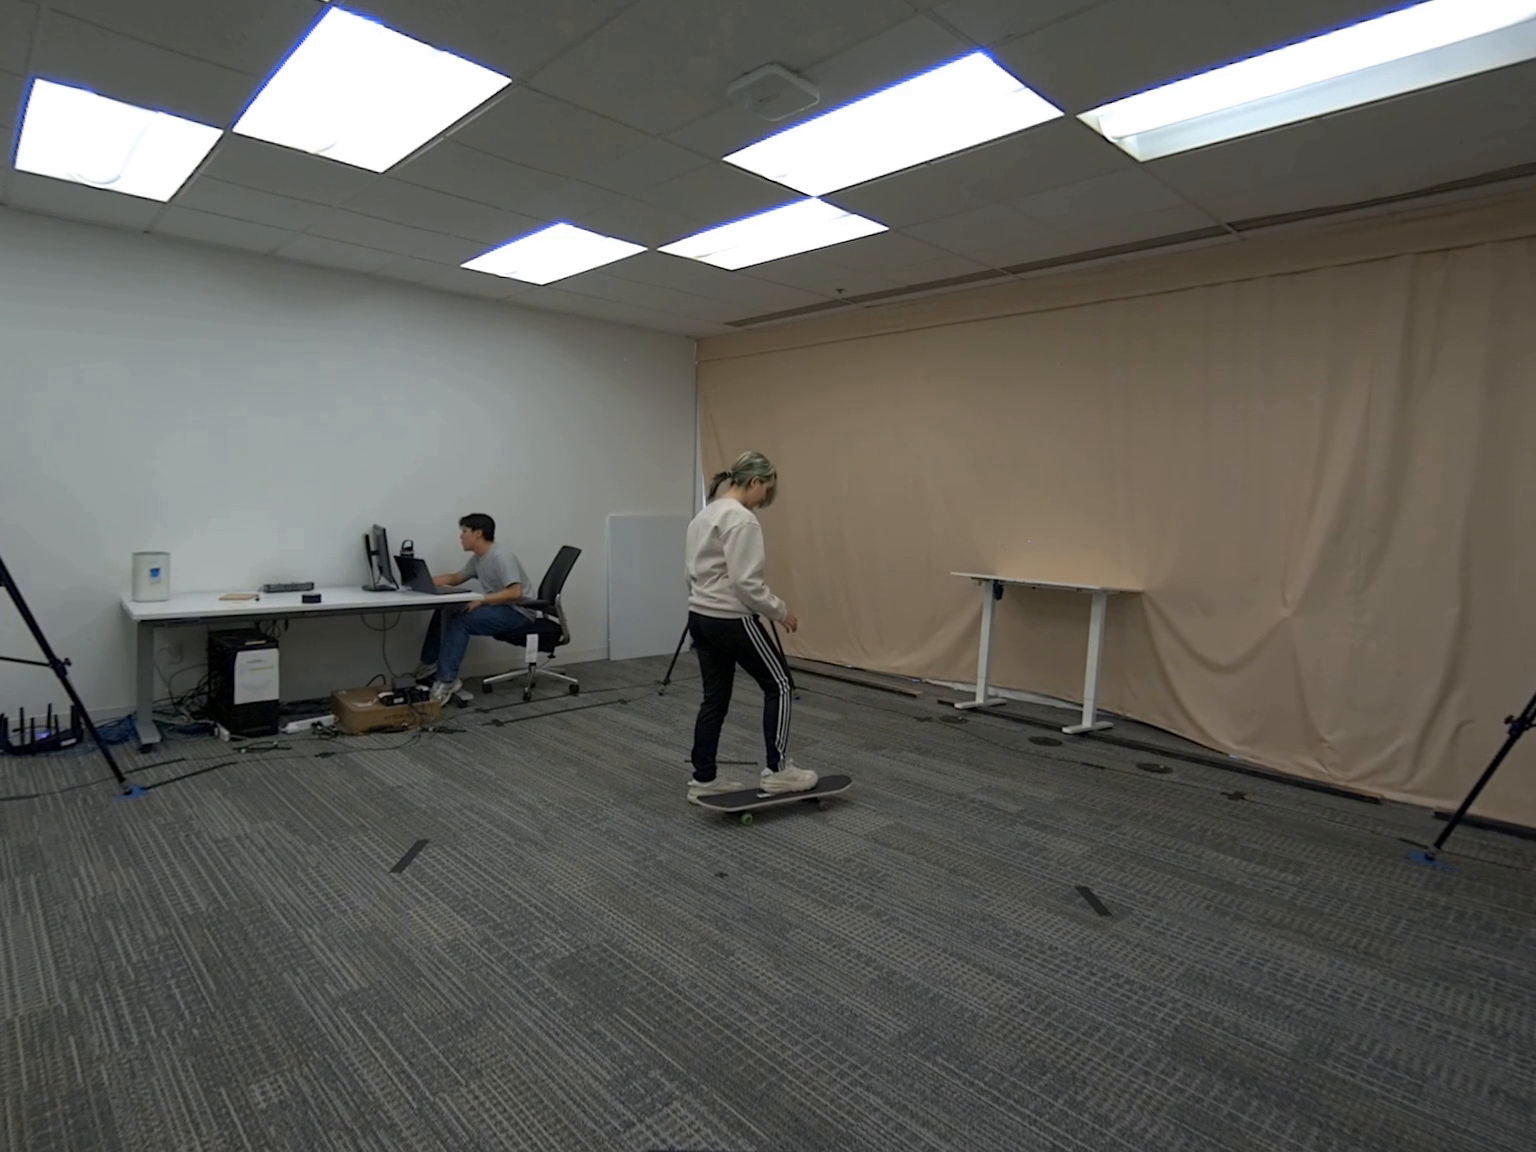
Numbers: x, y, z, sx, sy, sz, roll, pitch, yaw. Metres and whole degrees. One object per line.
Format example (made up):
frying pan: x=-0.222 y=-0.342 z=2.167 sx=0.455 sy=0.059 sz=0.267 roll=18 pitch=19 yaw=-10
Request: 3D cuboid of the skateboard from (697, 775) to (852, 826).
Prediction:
skateboard: x=0.024 y=1.000 z=3.751 sx=0.769 sy=0.110 sz=0.198 roll=-1 pitch=4 yaw=-30
